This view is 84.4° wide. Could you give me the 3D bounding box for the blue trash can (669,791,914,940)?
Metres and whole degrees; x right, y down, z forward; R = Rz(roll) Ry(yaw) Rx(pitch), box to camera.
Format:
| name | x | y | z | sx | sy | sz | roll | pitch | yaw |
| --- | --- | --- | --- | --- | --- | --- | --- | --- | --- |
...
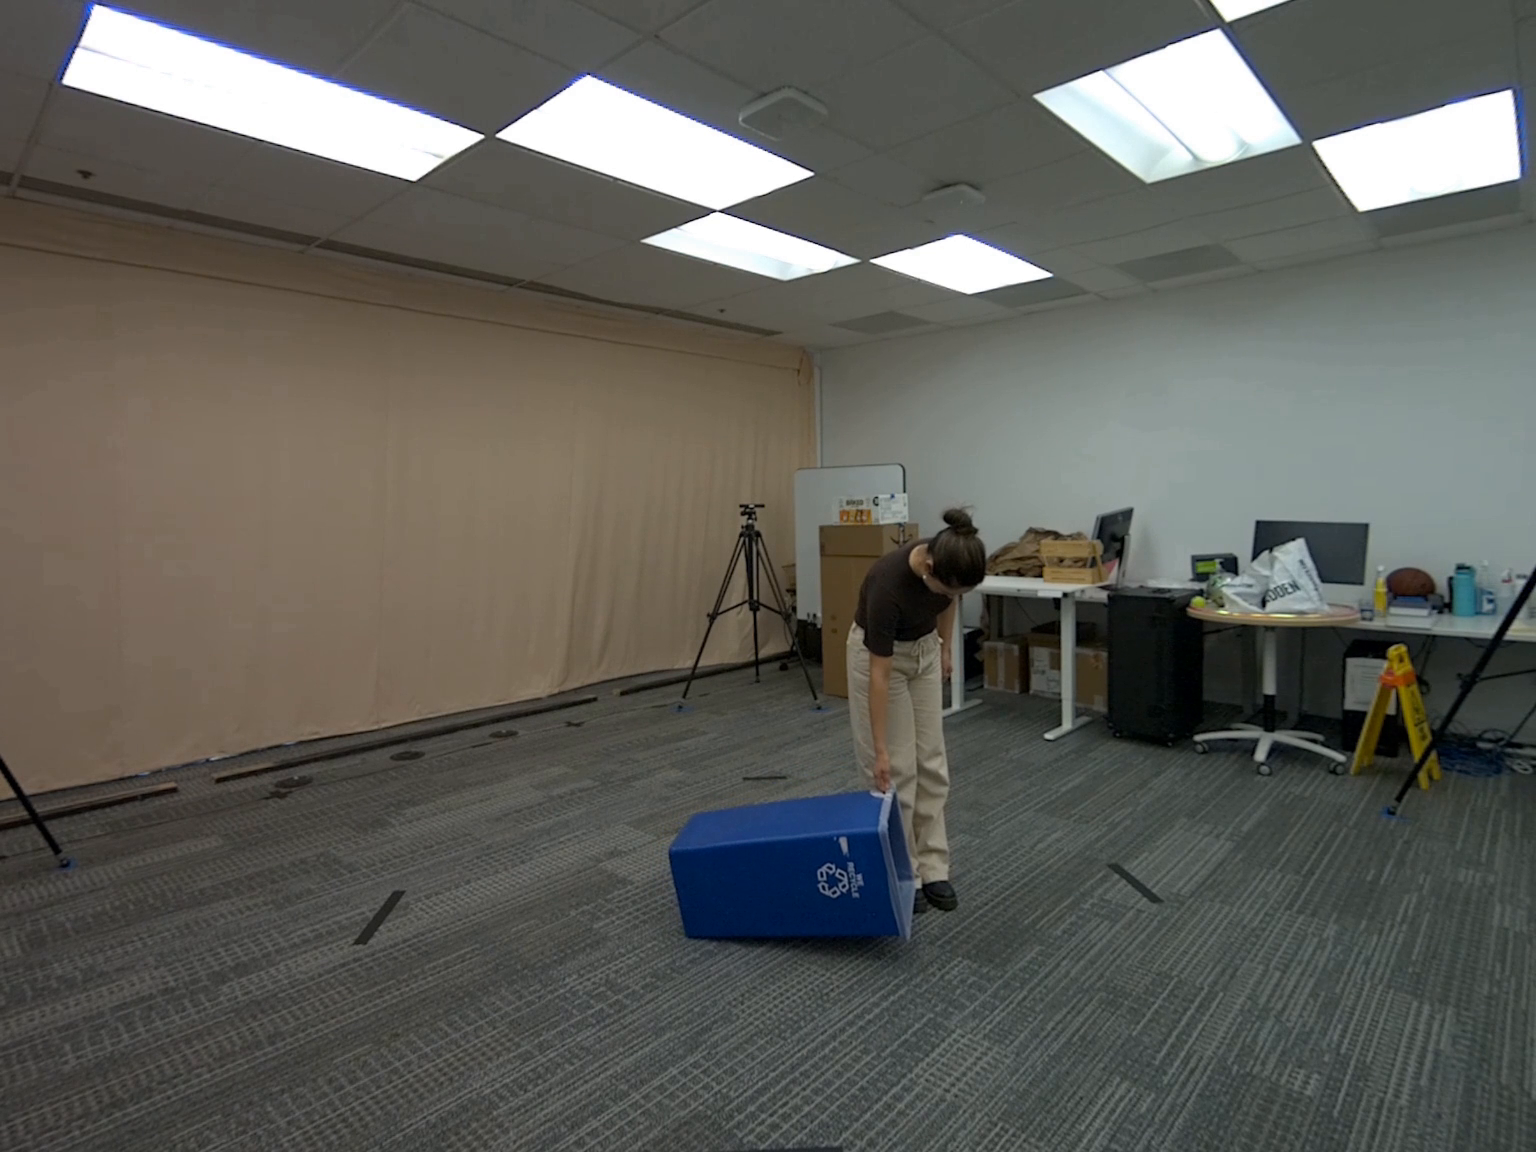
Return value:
| name | x | y | z | sx | sy | sz | roll | pitch | yaw |
| --- | --- | --- | --- | --- | --- | --- | --- | --- | --- |
| blue trash can | 0.082 | 0.945 | 2.744 | 0.726 | 0.373 | 0.372 | -10 | 3 | 19 |
